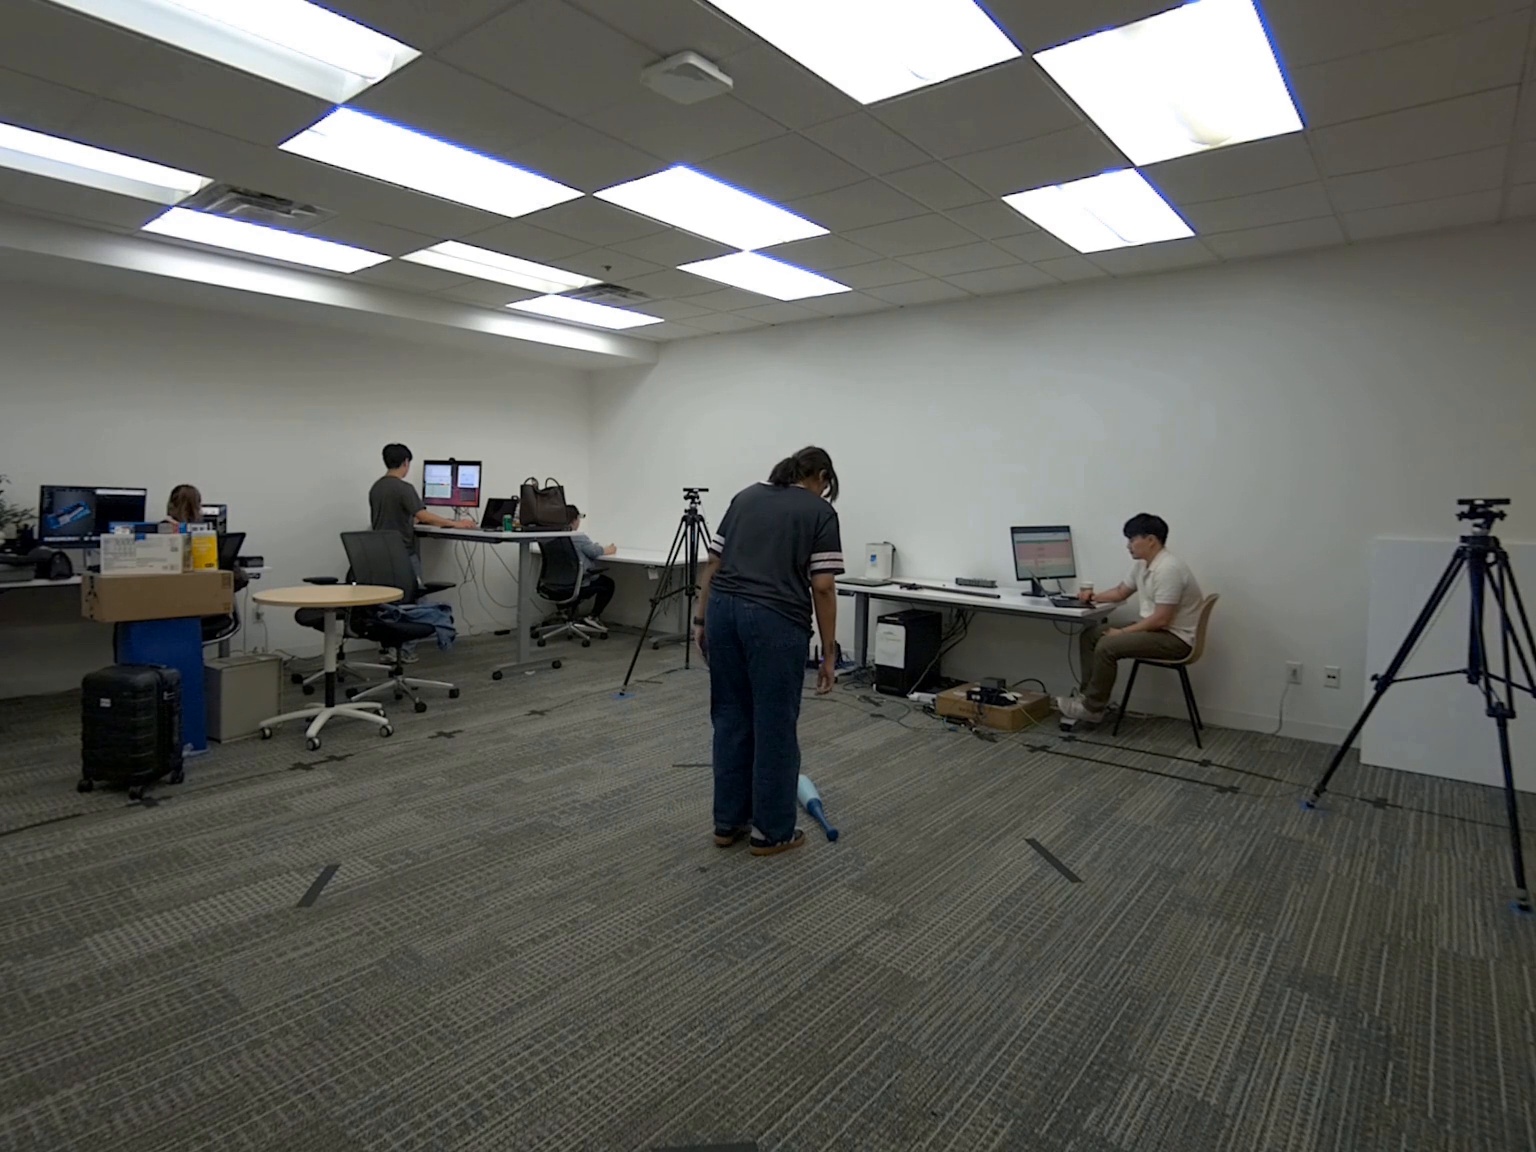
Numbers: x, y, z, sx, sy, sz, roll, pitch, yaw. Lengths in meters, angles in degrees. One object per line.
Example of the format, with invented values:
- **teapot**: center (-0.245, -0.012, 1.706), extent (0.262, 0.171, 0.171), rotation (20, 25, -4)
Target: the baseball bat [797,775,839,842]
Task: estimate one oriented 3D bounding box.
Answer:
- **baseball bat**: center (0.197, 0.991, 3.648), extent (0.088, 0.088, 0.553), rotation (0, 9, -12)
